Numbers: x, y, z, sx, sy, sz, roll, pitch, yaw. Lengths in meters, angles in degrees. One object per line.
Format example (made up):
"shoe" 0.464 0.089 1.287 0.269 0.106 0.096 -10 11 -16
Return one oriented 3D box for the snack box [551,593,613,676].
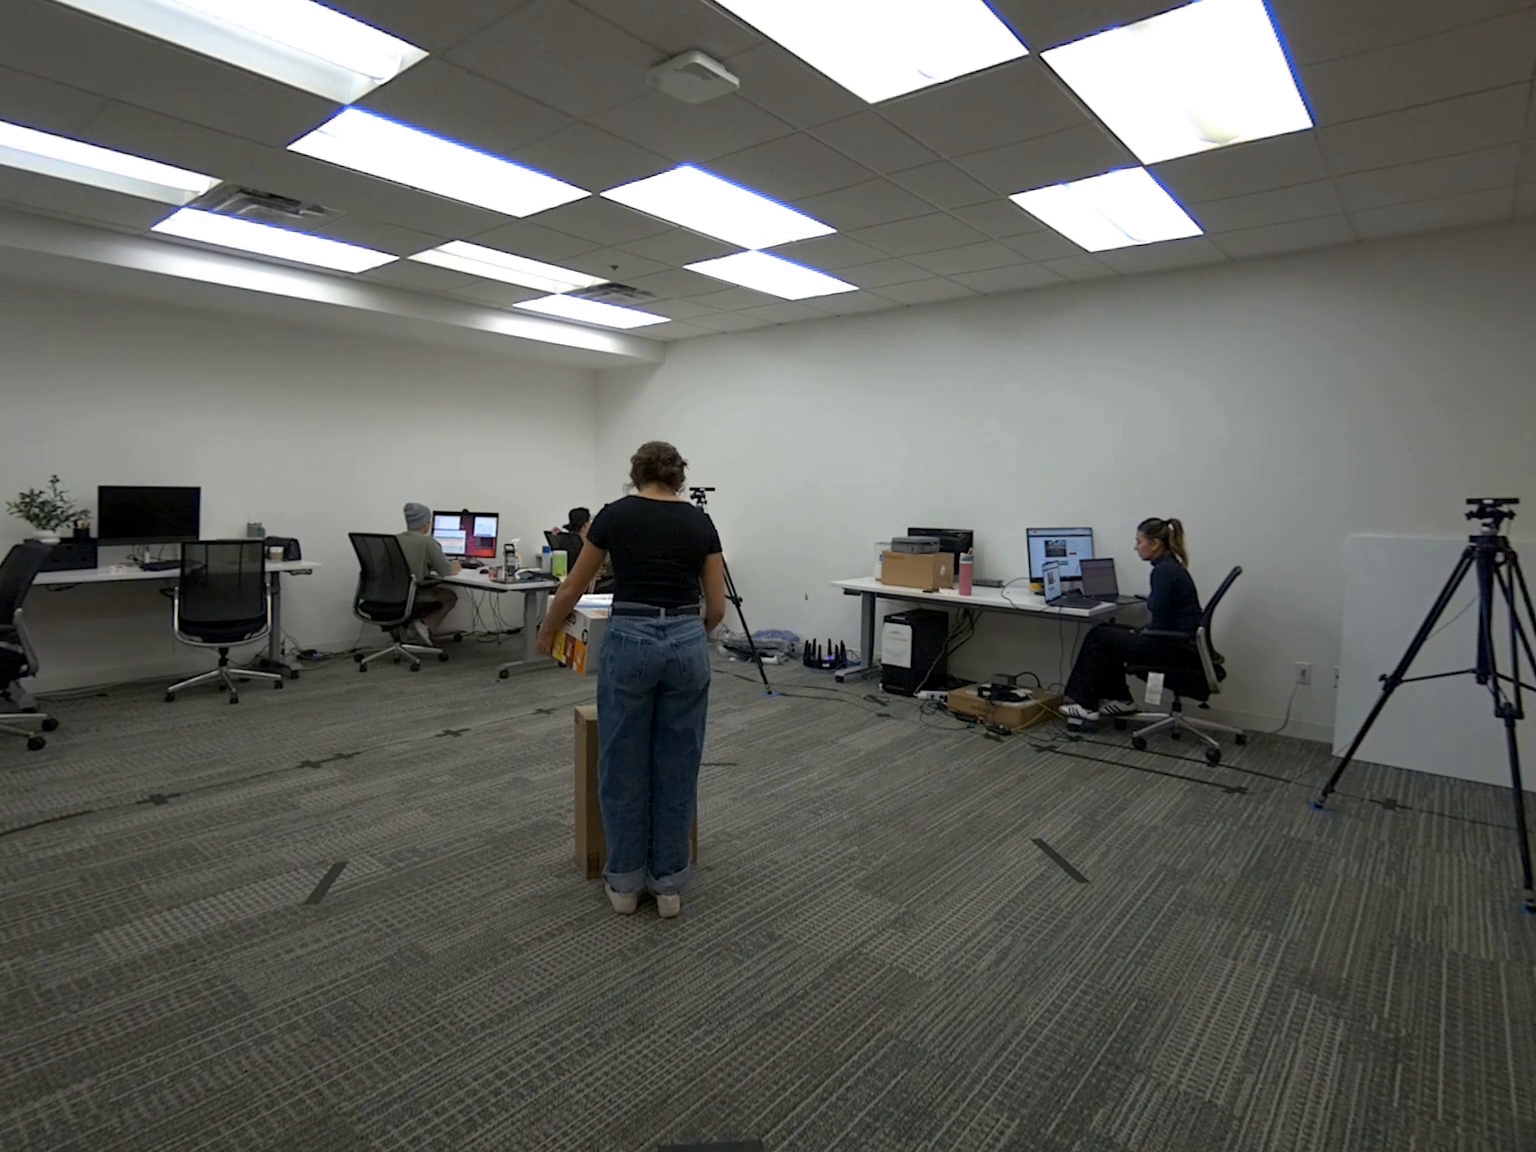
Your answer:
"snack box" -0.552 0.204 3.060 0.393 0.204 0.353 0 11 -37
